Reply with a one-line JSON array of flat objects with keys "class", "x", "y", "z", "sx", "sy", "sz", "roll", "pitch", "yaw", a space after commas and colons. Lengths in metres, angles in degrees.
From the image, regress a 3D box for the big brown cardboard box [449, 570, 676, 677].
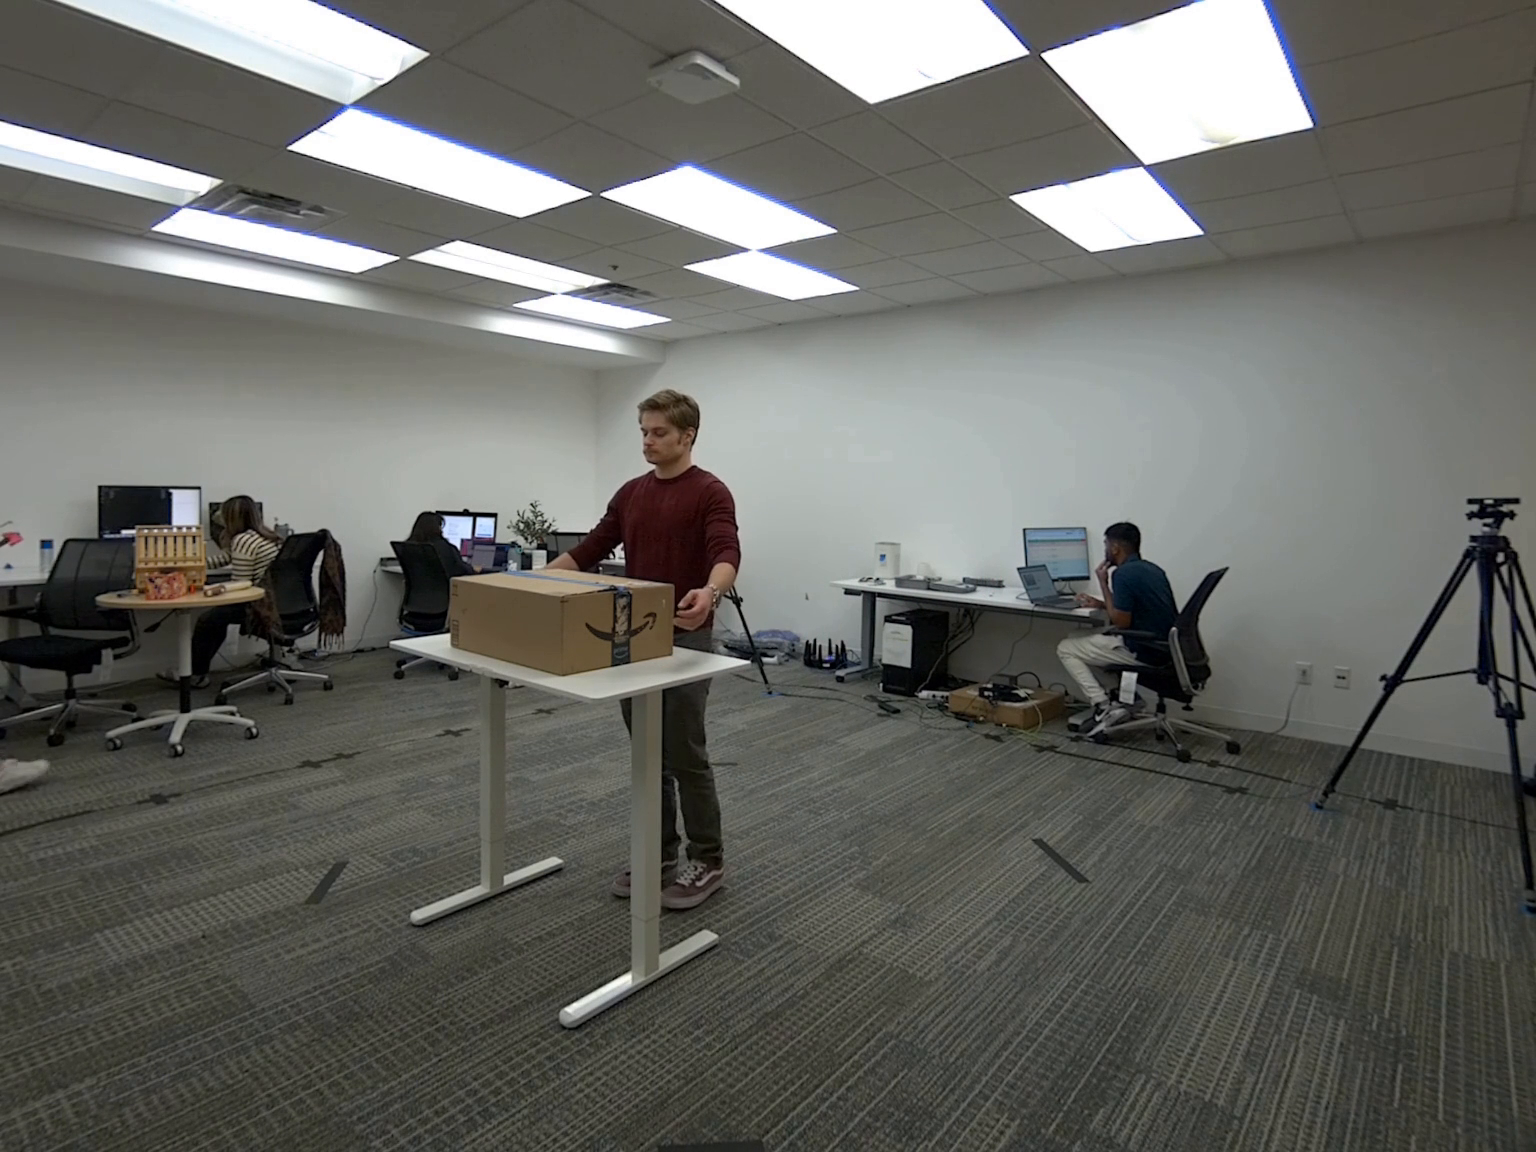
[{"class": "big brown cardboard box", "x": -0.641, "y": 0.119, "z": 2.589, "sx": 0.609, "sy": 0.232, "sz": 0.405, "roll": 5, "pitch": 7, "yaw": 41}]
